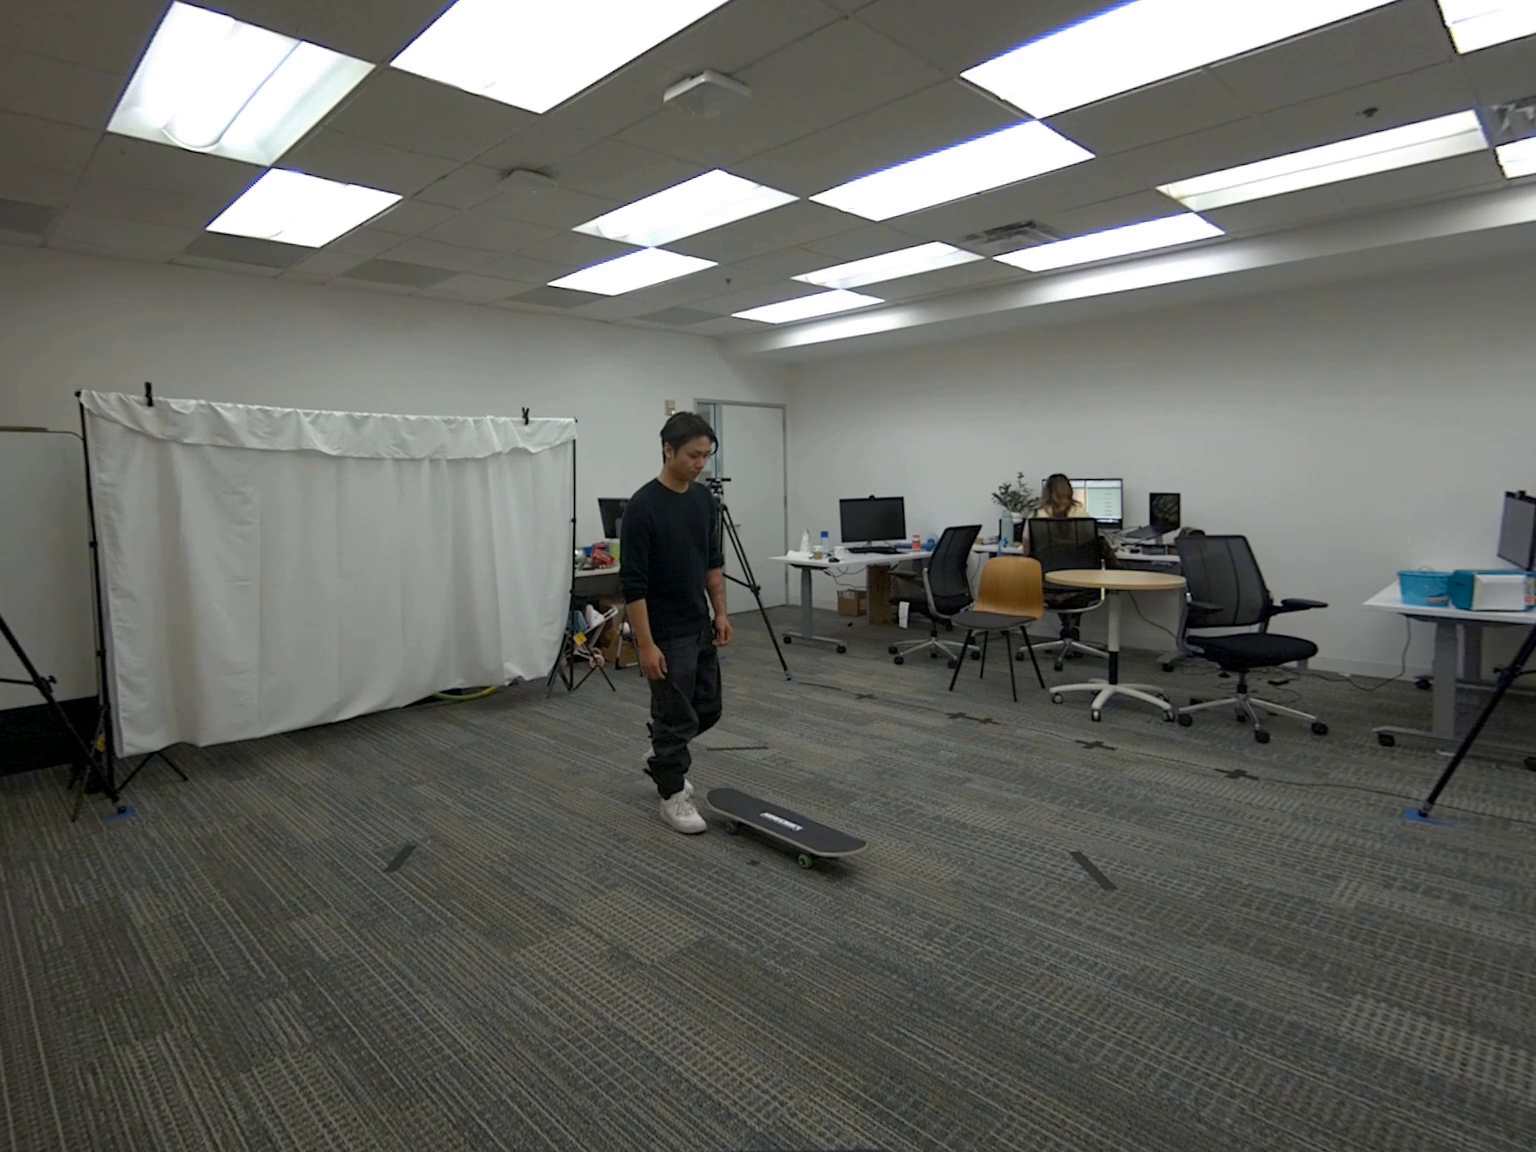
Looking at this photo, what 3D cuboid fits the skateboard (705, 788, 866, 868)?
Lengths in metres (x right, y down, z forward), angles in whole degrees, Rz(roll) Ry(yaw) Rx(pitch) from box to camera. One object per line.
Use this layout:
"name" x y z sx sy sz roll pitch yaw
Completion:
"skateboard" 0.058 0.972 3.253 0.188 0.110 0.809 -6 8 -41
